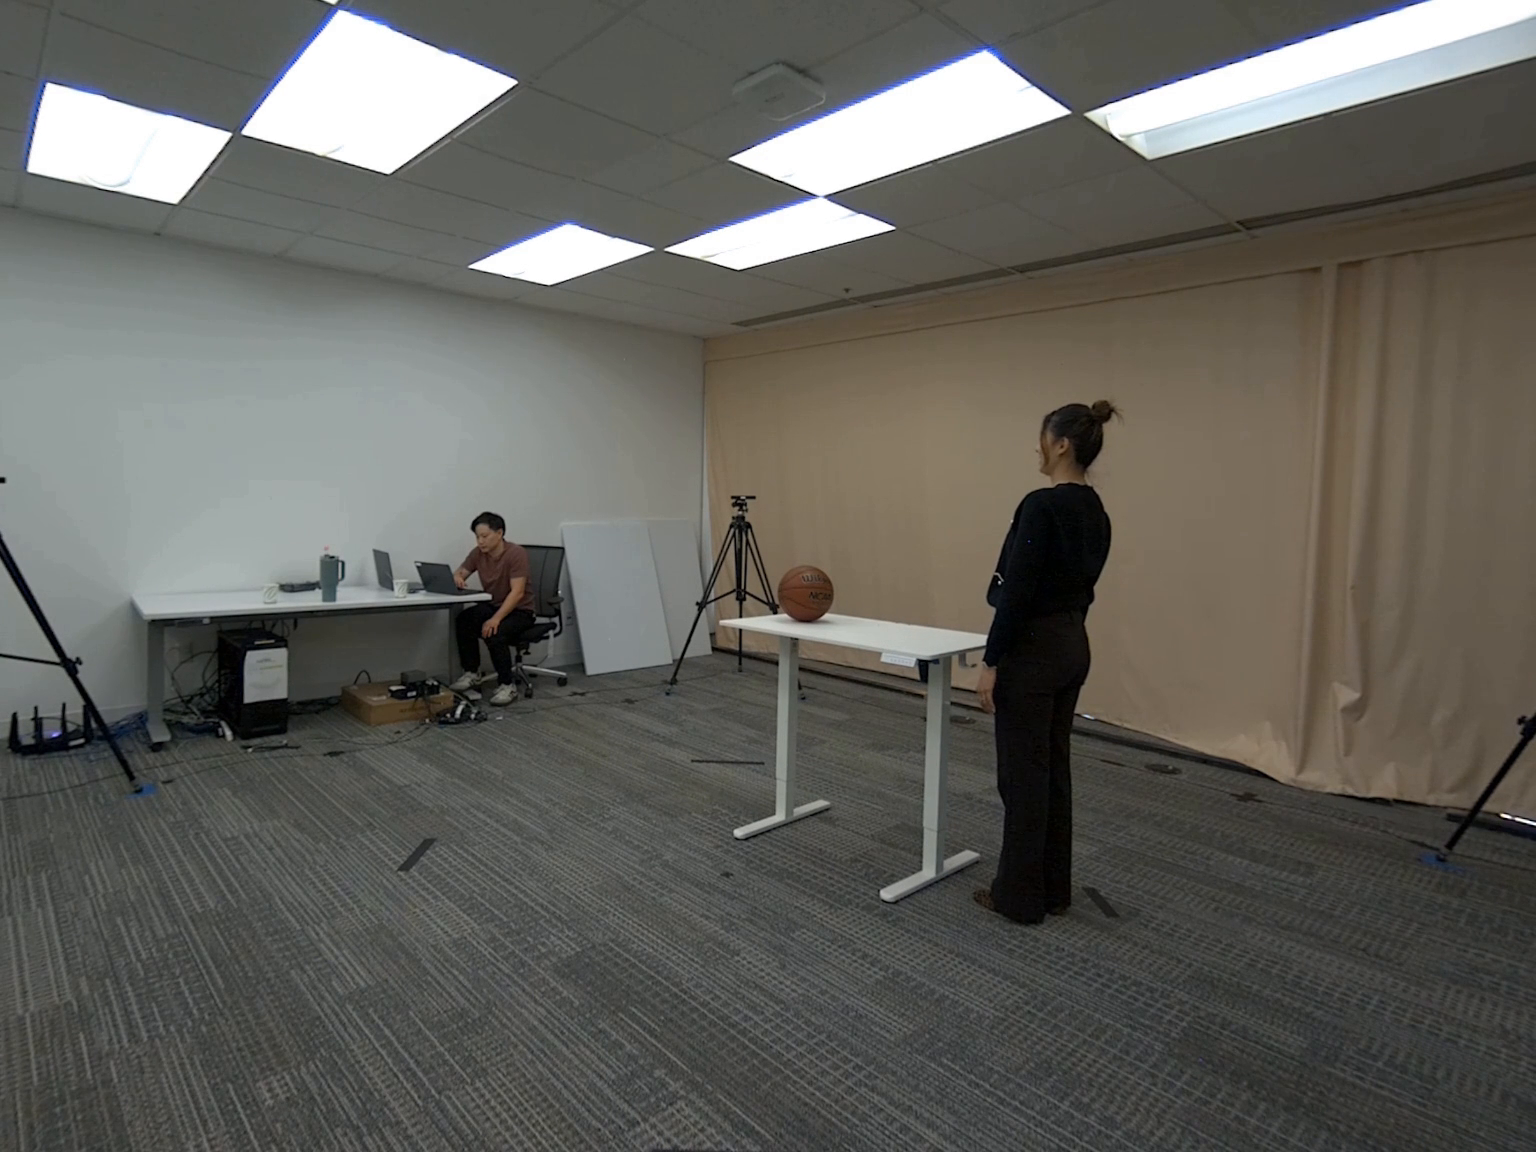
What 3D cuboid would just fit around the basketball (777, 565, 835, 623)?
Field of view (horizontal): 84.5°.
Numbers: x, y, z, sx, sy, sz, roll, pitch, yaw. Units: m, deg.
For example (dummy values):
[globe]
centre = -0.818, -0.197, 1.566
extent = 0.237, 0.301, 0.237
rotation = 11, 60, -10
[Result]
[basketball]
centre = 0.154, 0.076, 3.546
extent = 0.236, 0.235, 0.237
rotation = 1, 4, -1
